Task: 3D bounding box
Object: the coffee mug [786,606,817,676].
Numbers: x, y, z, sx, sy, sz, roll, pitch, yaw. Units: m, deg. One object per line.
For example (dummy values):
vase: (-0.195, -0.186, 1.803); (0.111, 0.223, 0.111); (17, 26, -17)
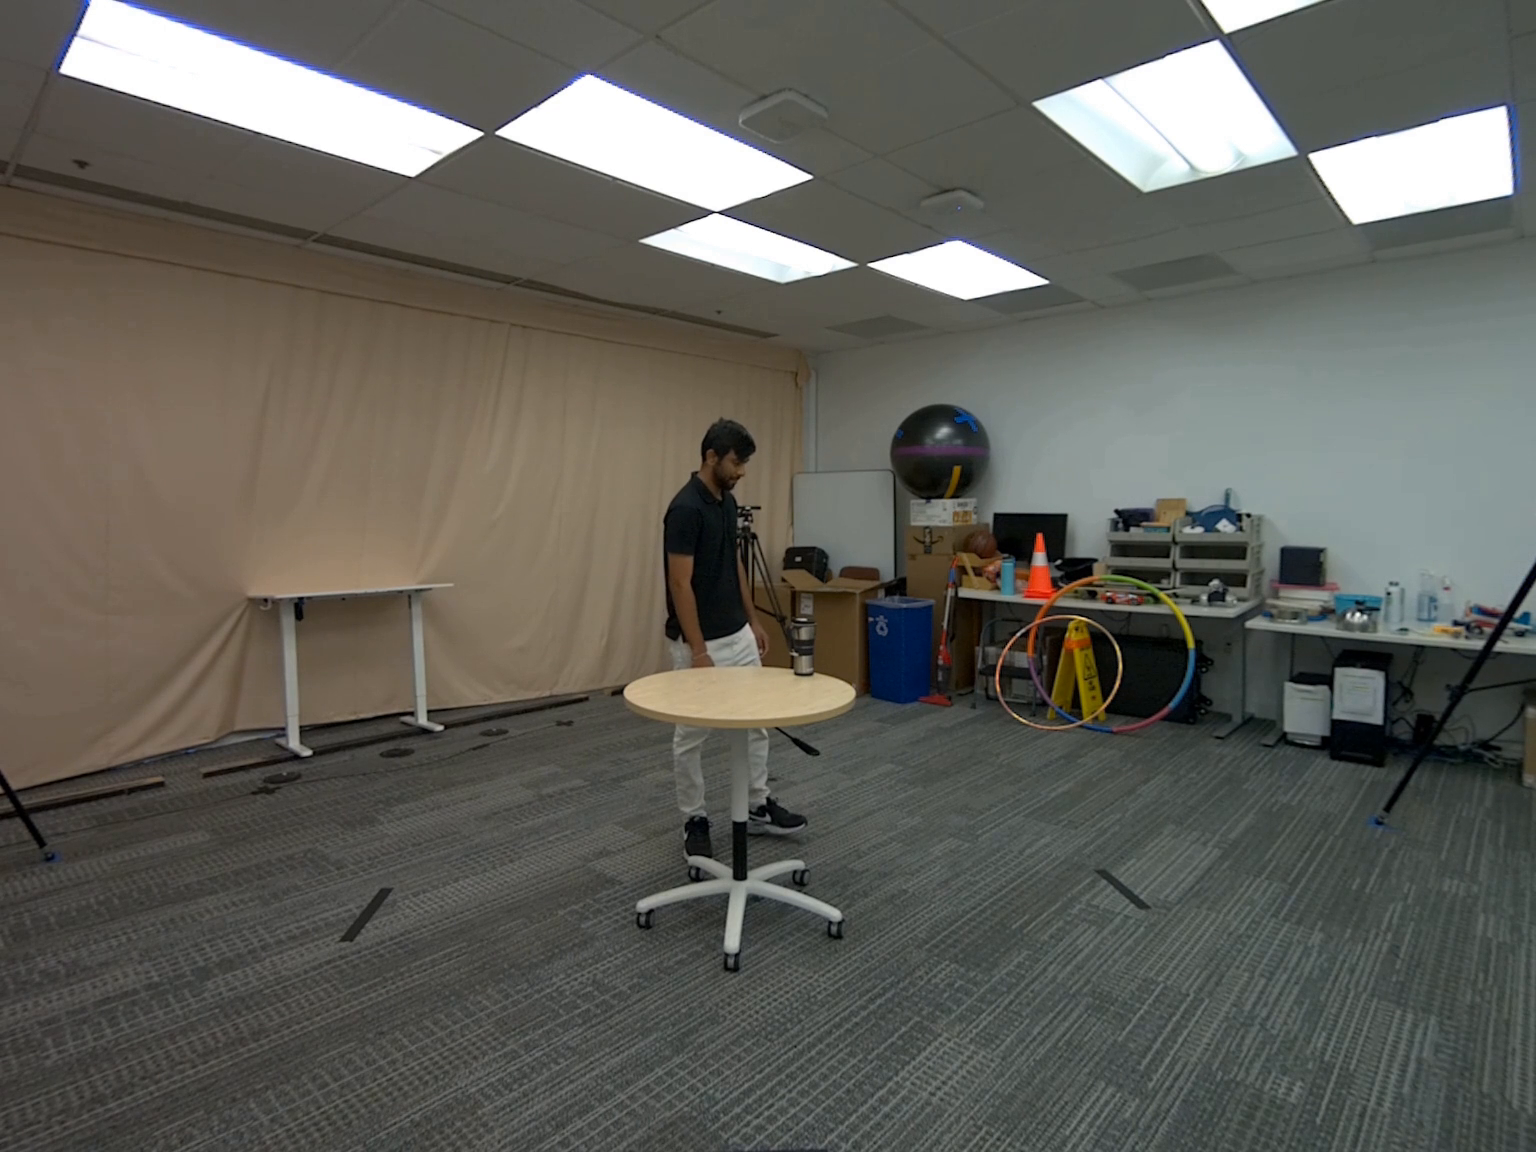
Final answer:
coffee mug: (0.114, 0.253, 3.036); (0.126, 0.202, 0.085); (4, 9, 36)
